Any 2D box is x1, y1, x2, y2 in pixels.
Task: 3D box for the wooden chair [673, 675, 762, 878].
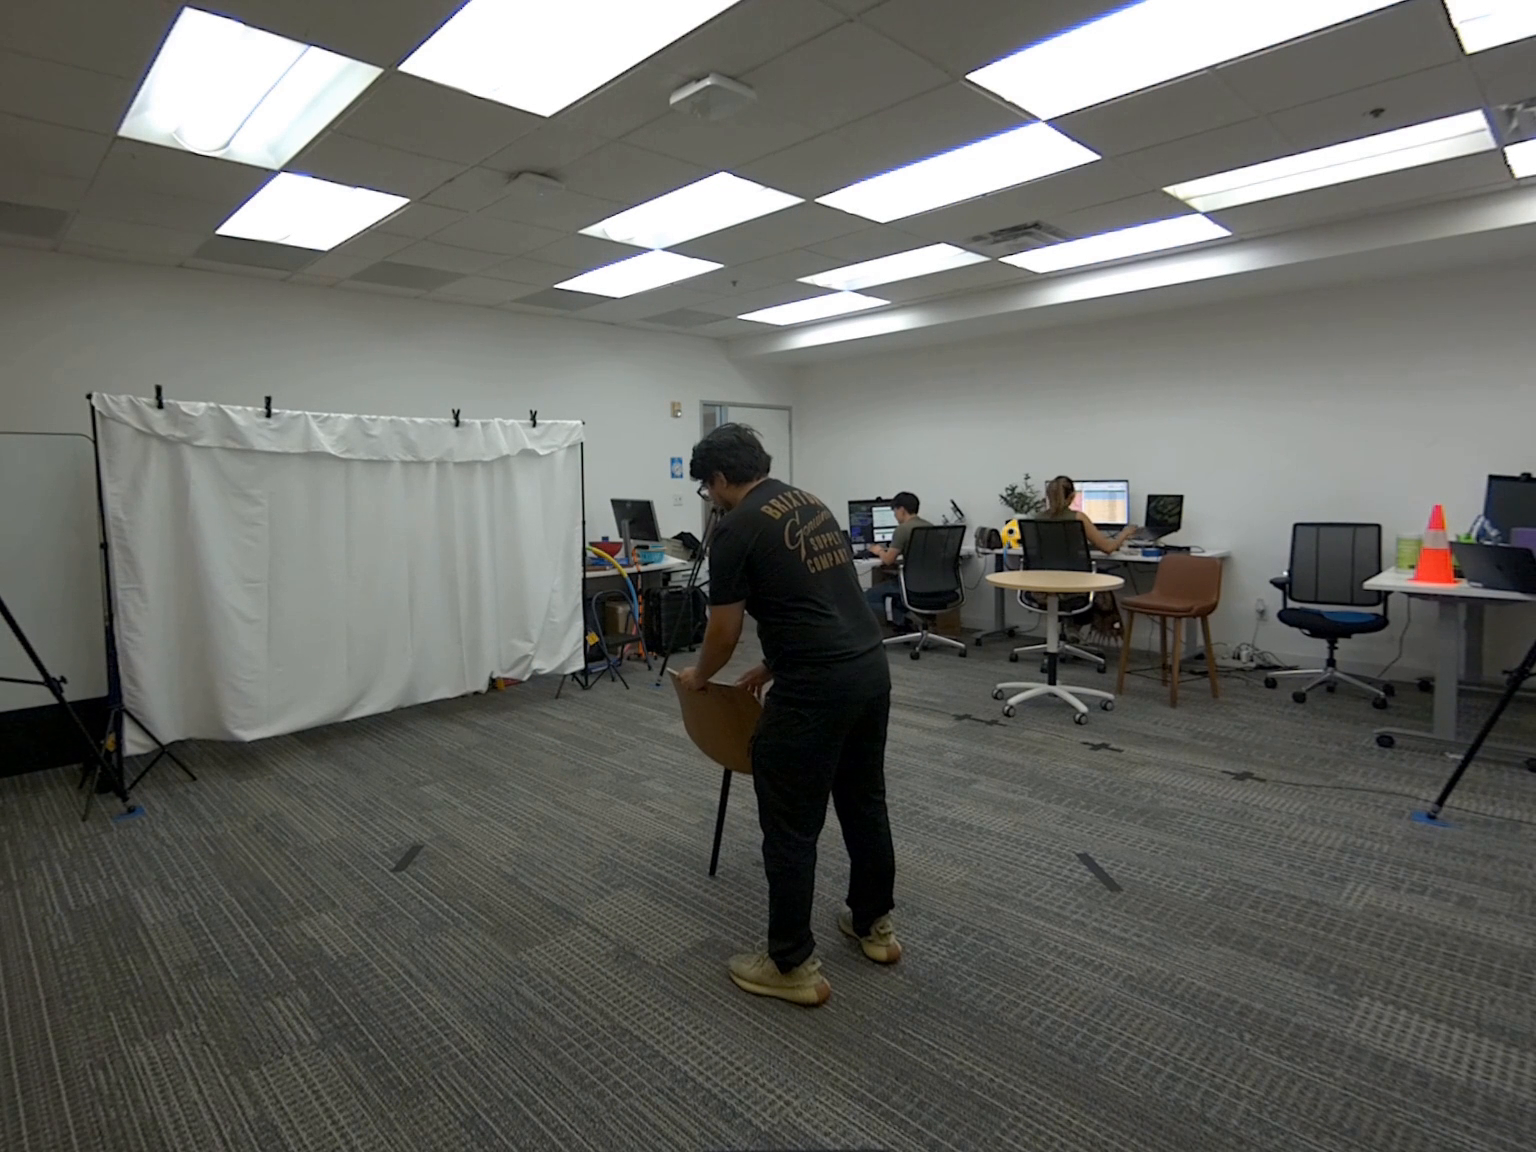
[{"bbox_3d":[0.024,0.596,2.913,0.493,0.860,0.518,3,26,43],"label":"wooden chair"}]
